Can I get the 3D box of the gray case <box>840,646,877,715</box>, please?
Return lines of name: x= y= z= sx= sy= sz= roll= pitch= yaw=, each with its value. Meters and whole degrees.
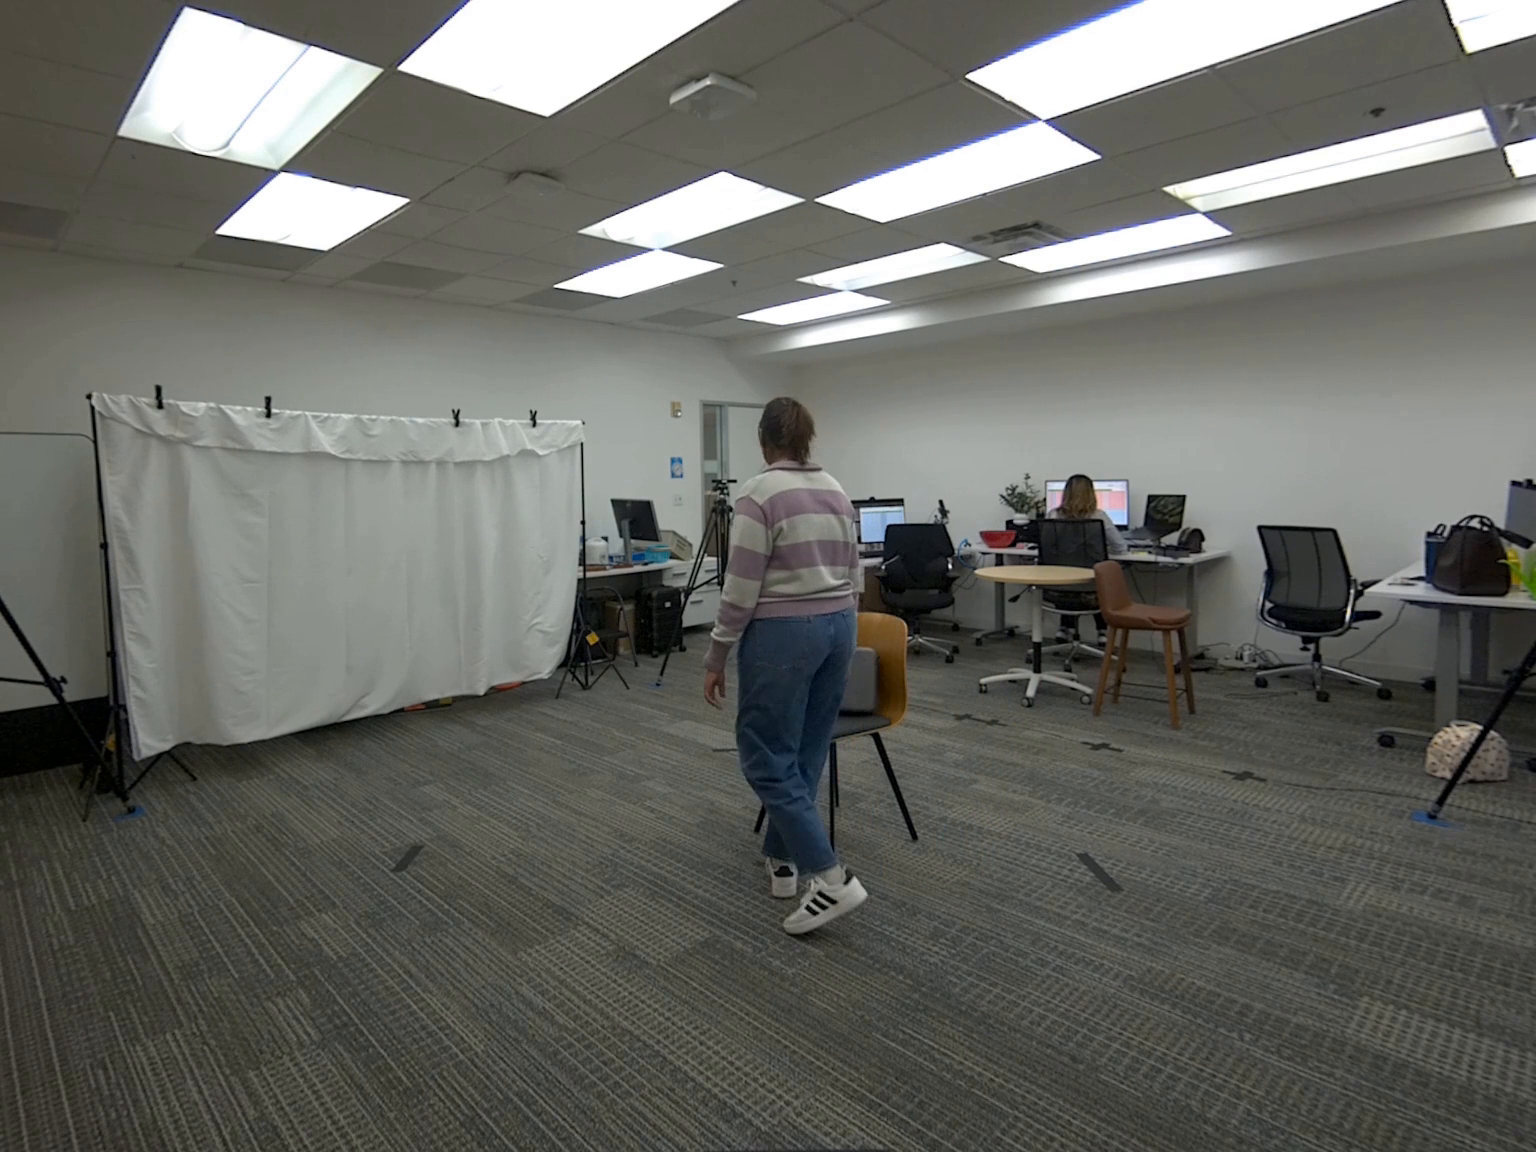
gray case: x=0.306 y=0.404 z=3.390 sx=0.258 sy=0.263 sz=0.103 roll=0 pitch=-9 yaw=6
